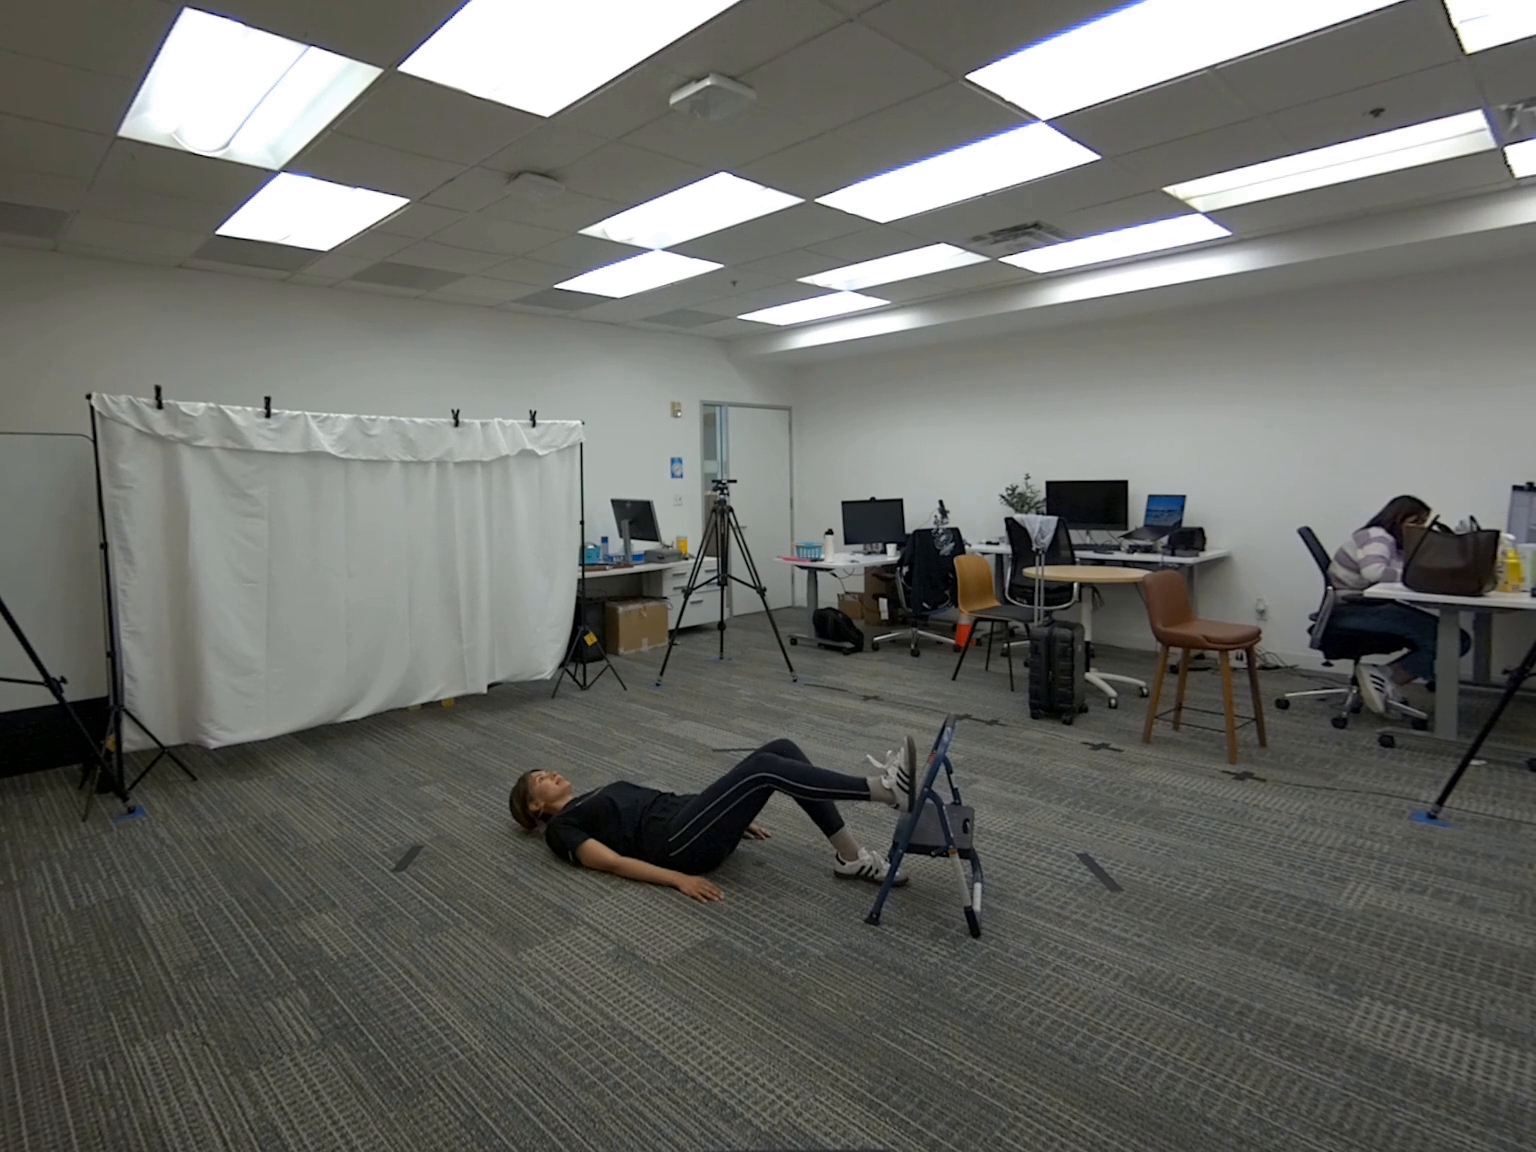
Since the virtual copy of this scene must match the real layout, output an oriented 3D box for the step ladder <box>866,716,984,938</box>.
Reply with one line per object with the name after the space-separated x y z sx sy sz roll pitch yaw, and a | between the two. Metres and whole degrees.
0.523 0.766 2.802 0.355 0.604 0.425 1 5 16 | step ladder
